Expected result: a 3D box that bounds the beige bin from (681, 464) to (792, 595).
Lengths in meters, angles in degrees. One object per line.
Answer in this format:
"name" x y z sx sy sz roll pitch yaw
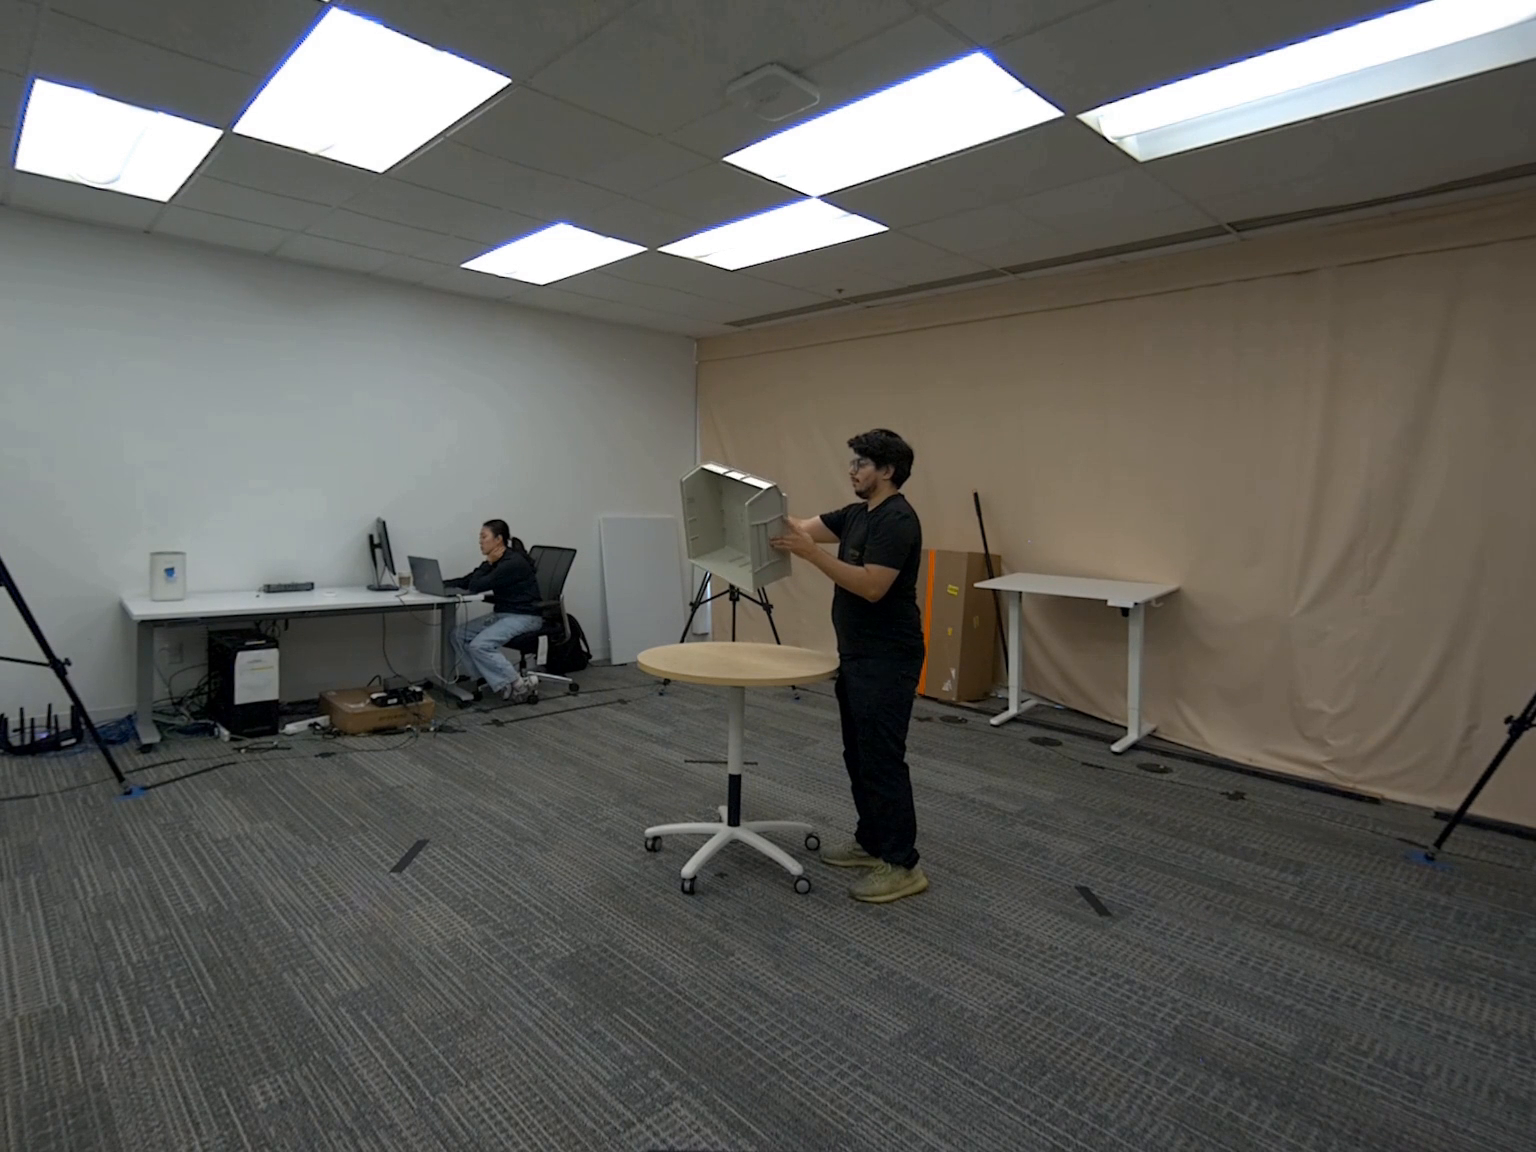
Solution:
"beige bin" -0.125 -0.185 3.096 0.186 0.371 0.435 -21 28 -32
